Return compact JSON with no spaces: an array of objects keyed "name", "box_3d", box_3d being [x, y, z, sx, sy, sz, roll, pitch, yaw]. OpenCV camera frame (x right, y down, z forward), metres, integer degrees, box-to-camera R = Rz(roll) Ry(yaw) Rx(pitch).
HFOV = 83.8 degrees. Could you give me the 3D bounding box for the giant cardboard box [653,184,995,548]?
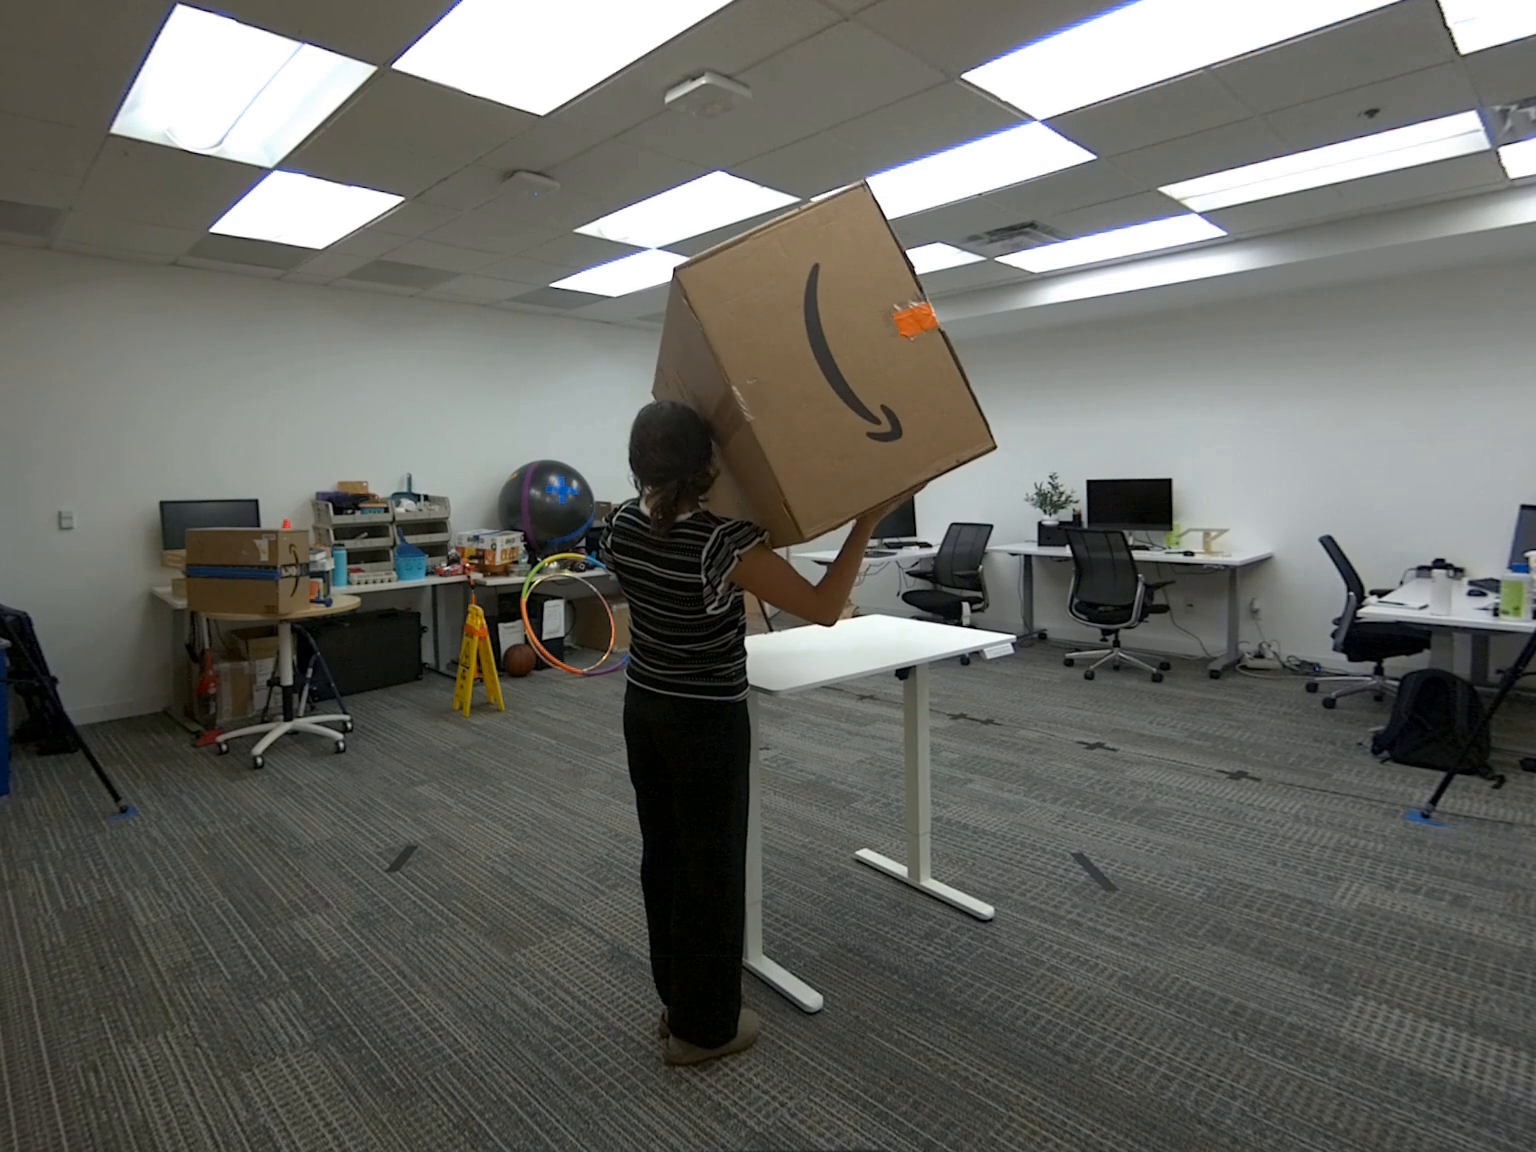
[{"name":"giant cardboard box","box_3d":[0.051,-0.404,2.110,0.424,0.577,1.032,-26,3,-9]}]
